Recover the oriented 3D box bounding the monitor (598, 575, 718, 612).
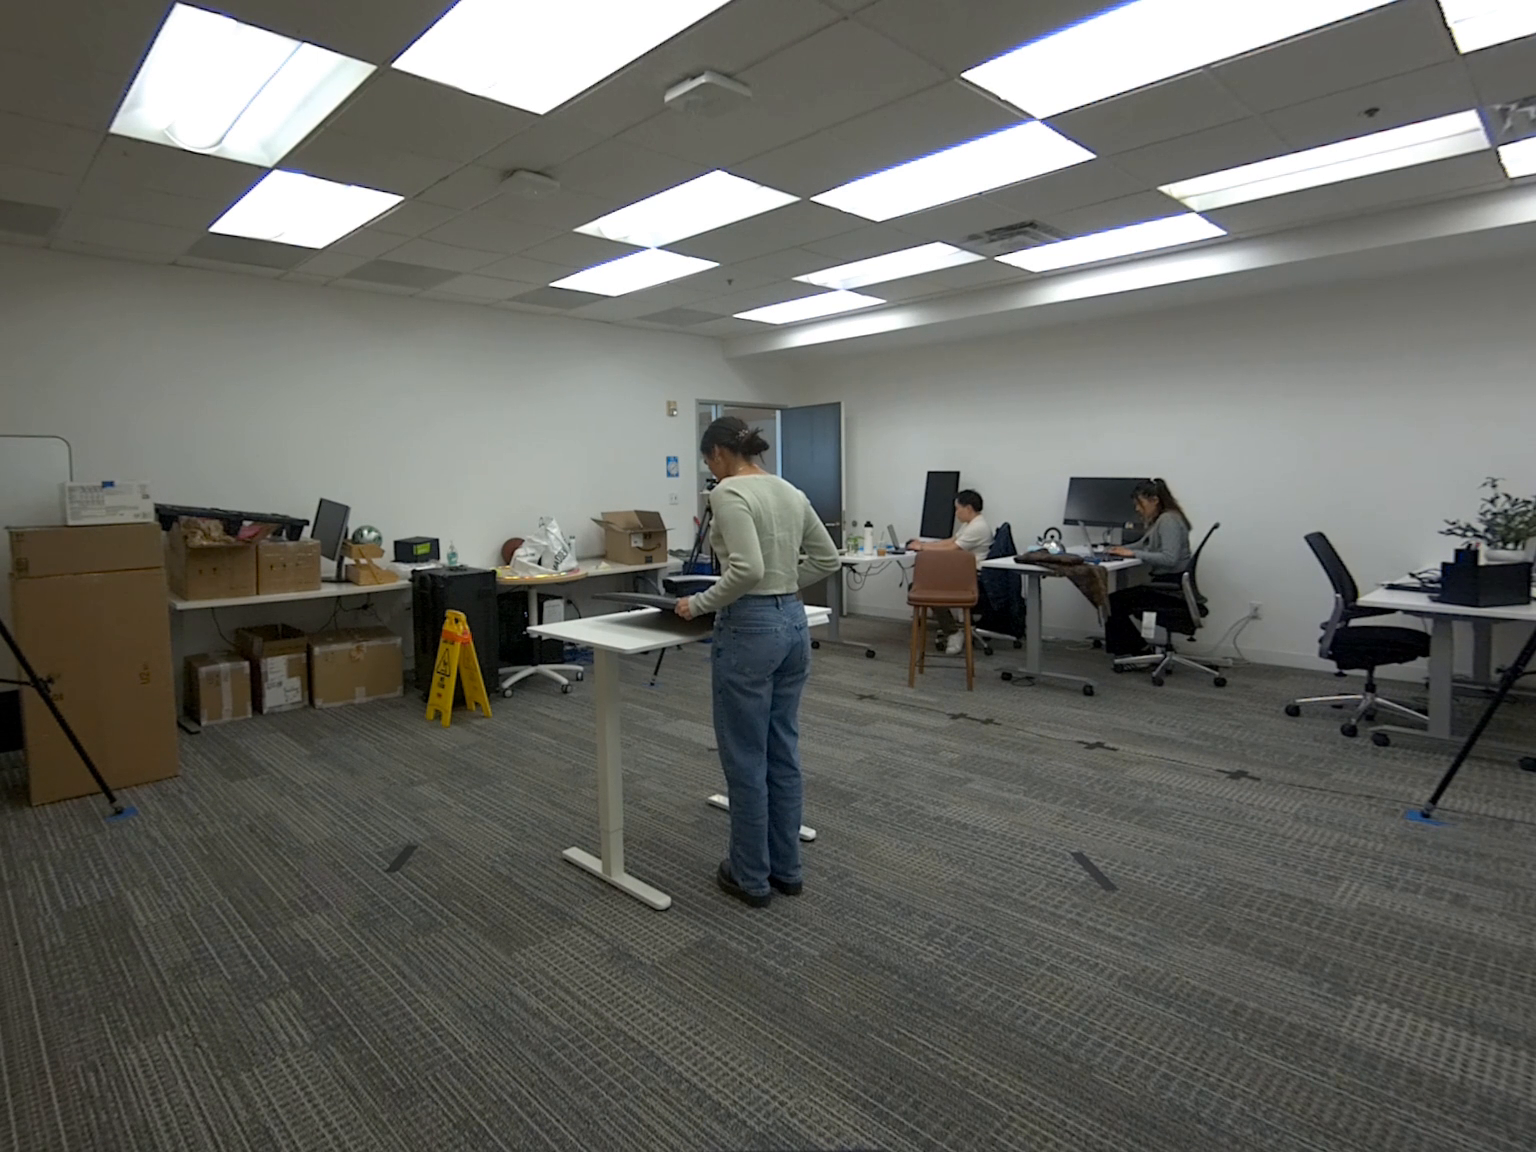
[{"bbox_3d":[-0.270,0.078,3.158,0.510,0.186,0.554,-10,6,-43],"label":"monitor"}]
